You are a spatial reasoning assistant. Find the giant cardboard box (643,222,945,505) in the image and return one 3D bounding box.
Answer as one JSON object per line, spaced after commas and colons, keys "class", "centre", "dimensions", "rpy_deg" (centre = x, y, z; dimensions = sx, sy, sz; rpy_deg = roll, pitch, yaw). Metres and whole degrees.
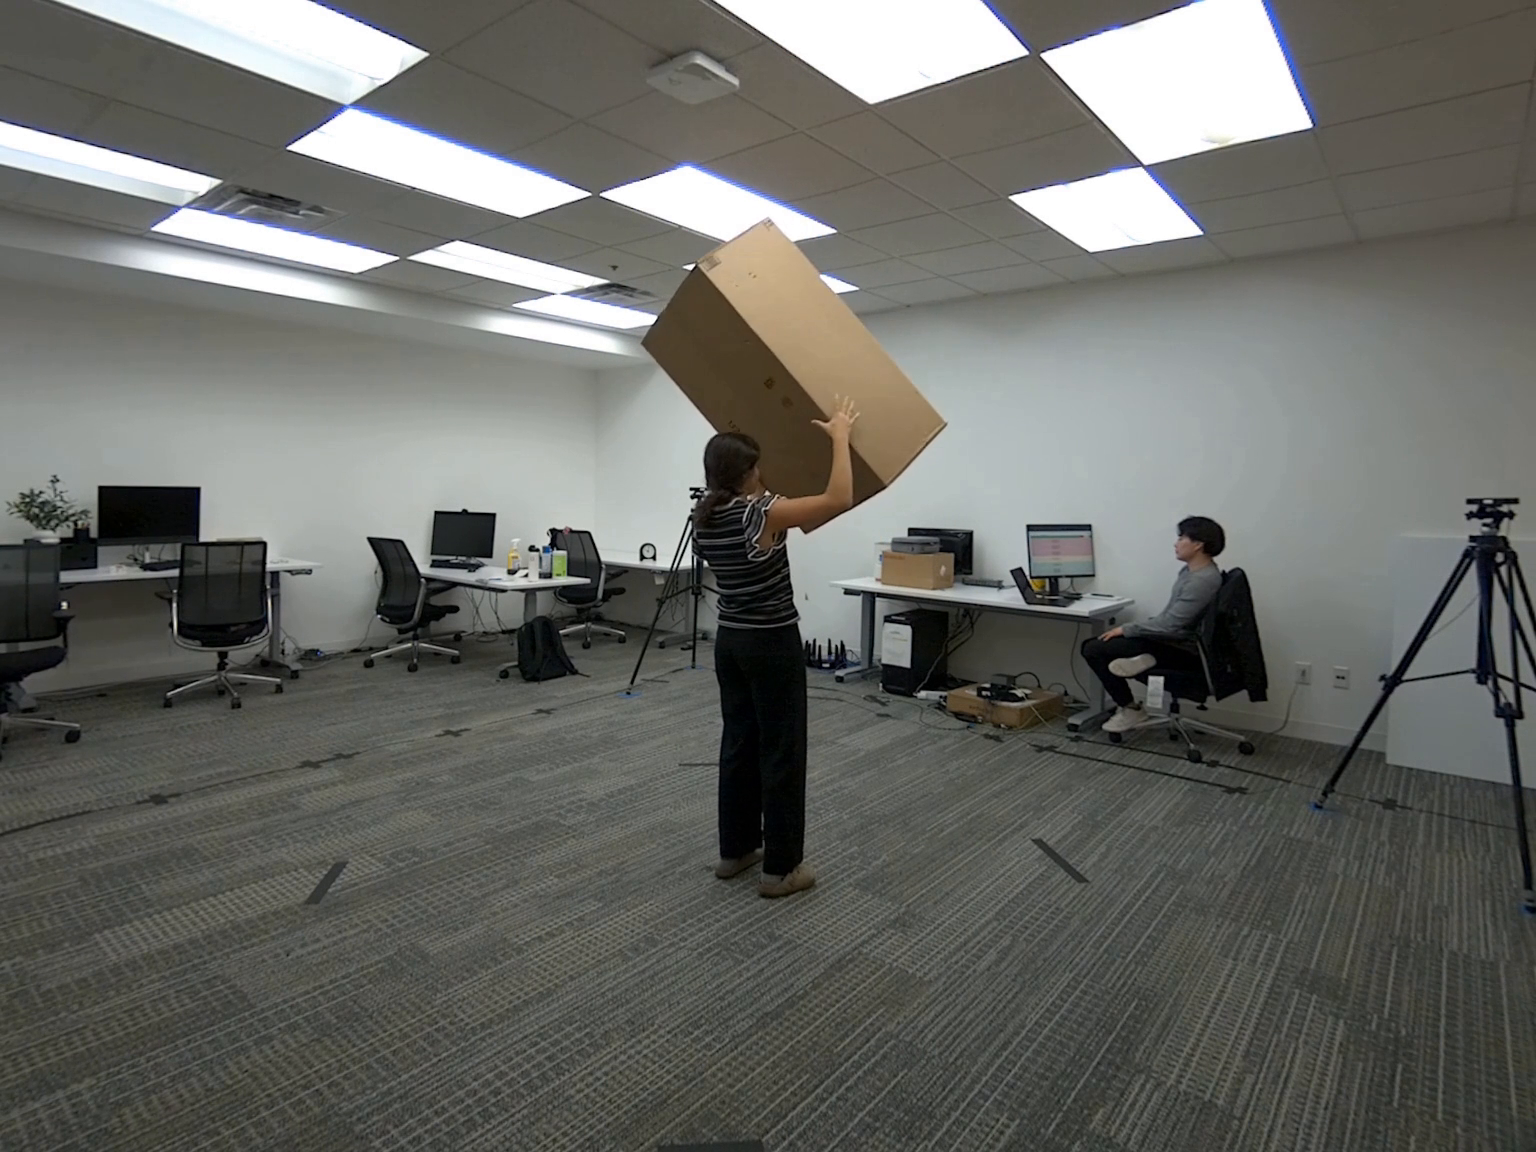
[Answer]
{"class": "giant cardboard box", "centre": [0.076, -0.738, 3.270], "dimensions": [0.425, 1.022, 0.582], "rpy_deg": [-43, 4, -31]}
